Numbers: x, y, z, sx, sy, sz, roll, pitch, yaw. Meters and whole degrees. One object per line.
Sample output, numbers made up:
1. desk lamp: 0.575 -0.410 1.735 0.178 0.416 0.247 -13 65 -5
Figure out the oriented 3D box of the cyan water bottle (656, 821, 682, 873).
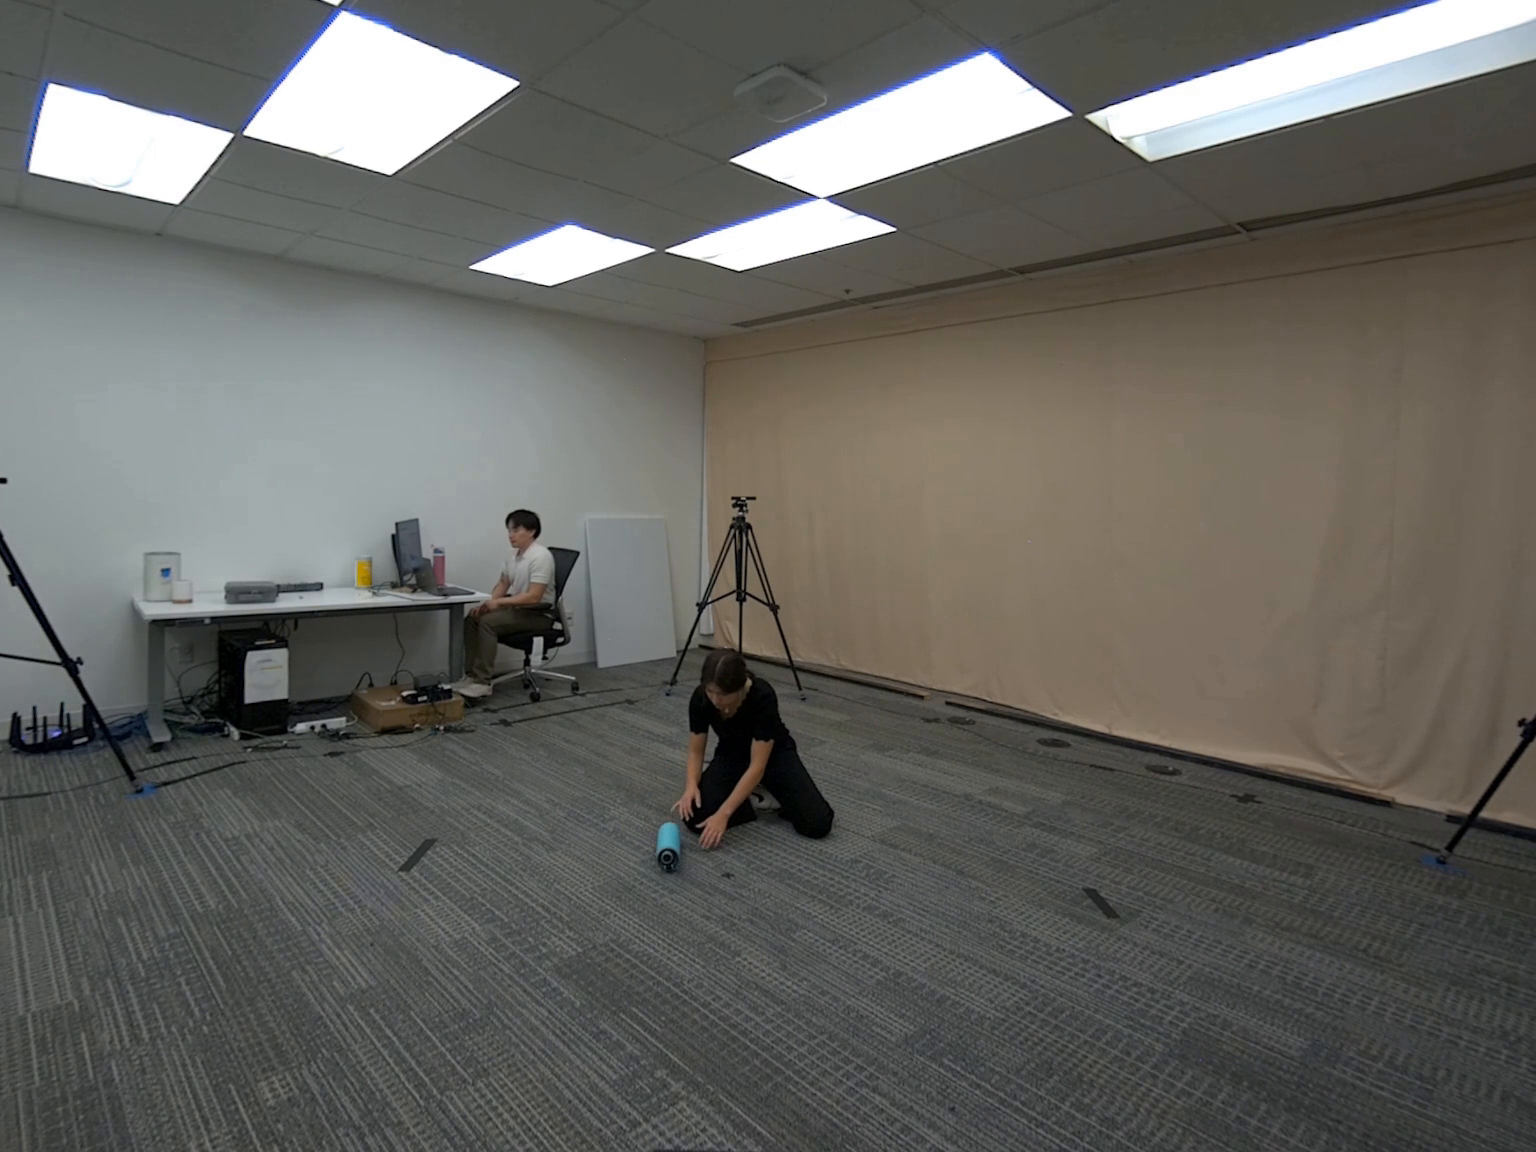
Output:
1. cyan water bottle: -0.390 1.042 3.229 0.092 0.092 0.285 1 4 -4
